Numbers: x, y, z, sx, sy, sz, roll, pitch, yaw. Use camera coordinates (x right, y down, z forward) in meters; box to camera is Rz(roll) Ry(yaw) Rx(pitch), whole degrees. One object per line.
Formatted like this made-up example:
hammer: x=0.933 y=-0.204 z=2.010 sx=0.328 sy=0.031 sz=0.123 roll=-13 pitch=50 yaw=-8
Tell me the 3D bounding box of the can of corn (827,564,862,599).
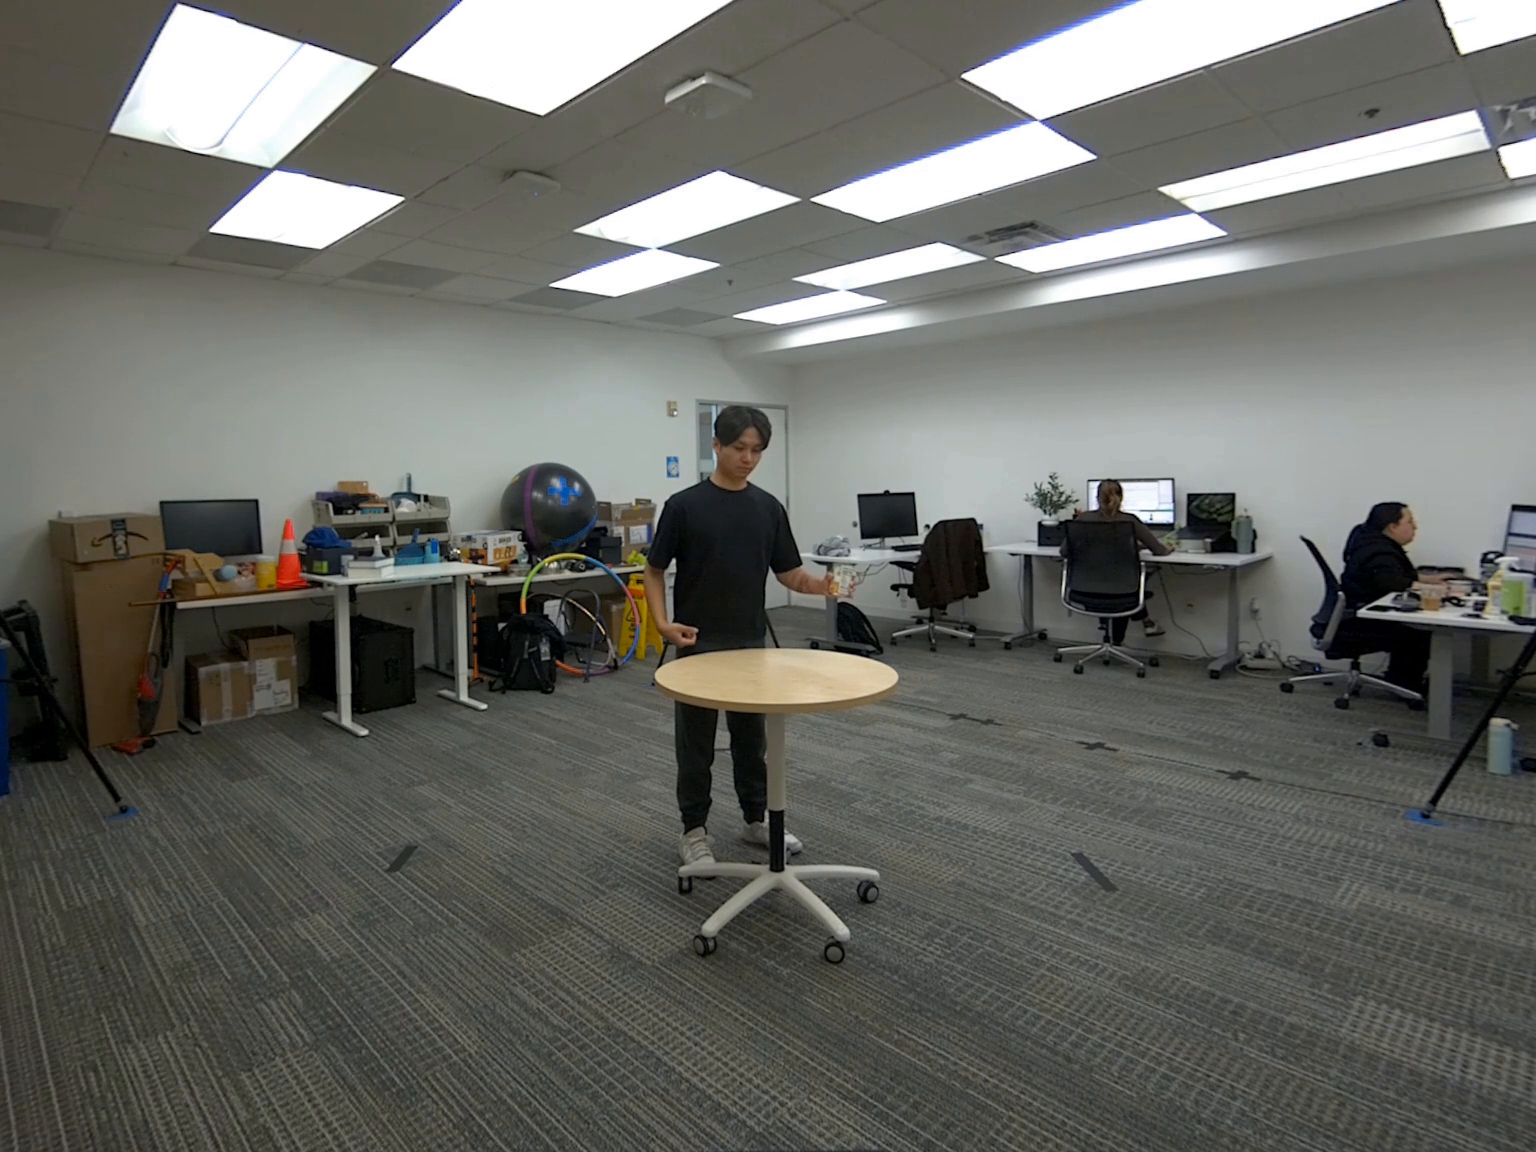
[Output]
can of corn: x=0.252 y=0.010 z=2.966 sx=0.074 sy=0.111 sz=0.074 roll=11 pitch=1 yaw=-2
